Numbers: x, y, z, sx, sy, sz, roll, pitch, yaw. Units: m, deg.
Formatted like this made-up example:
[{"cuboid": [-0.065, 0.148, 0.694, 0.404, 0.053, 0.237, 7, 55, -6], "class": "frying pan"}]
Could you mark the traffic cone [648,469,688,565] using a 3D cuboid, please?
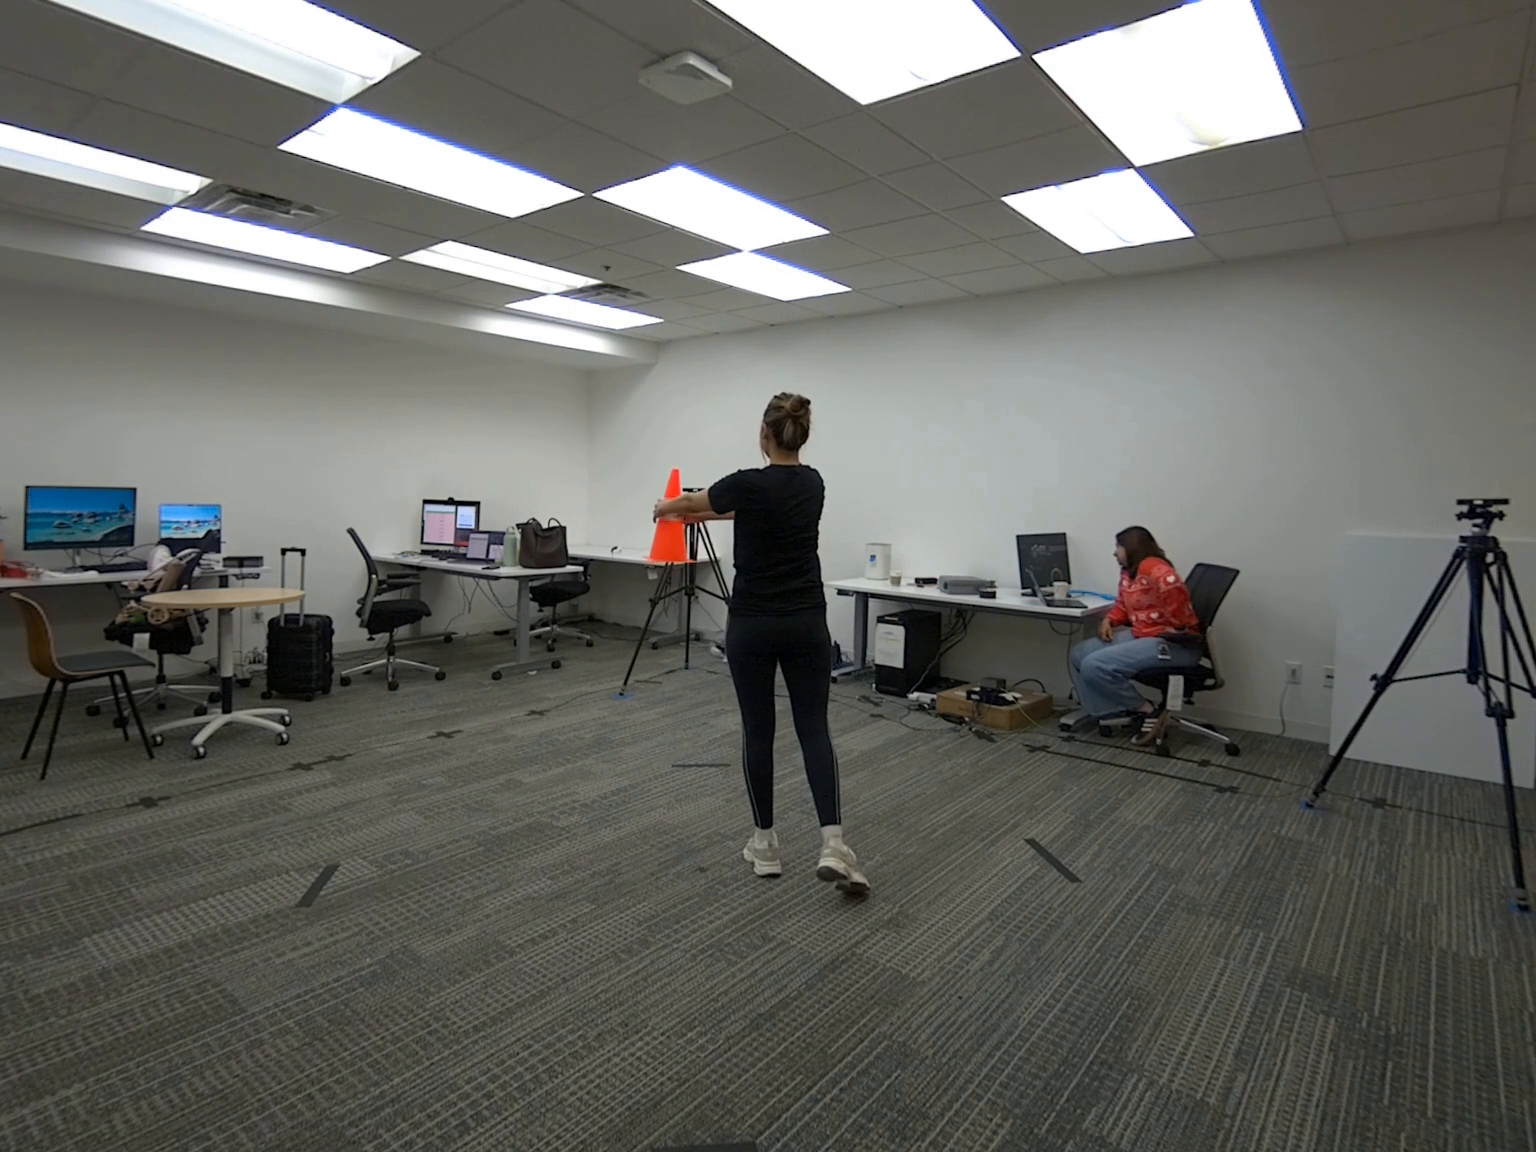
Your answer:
[{"cuboid": [-0.411, -0.260, 3.559, 0.199, 0.382, 0.210, -1, 6, -39], "class": "traffic cone"}]
